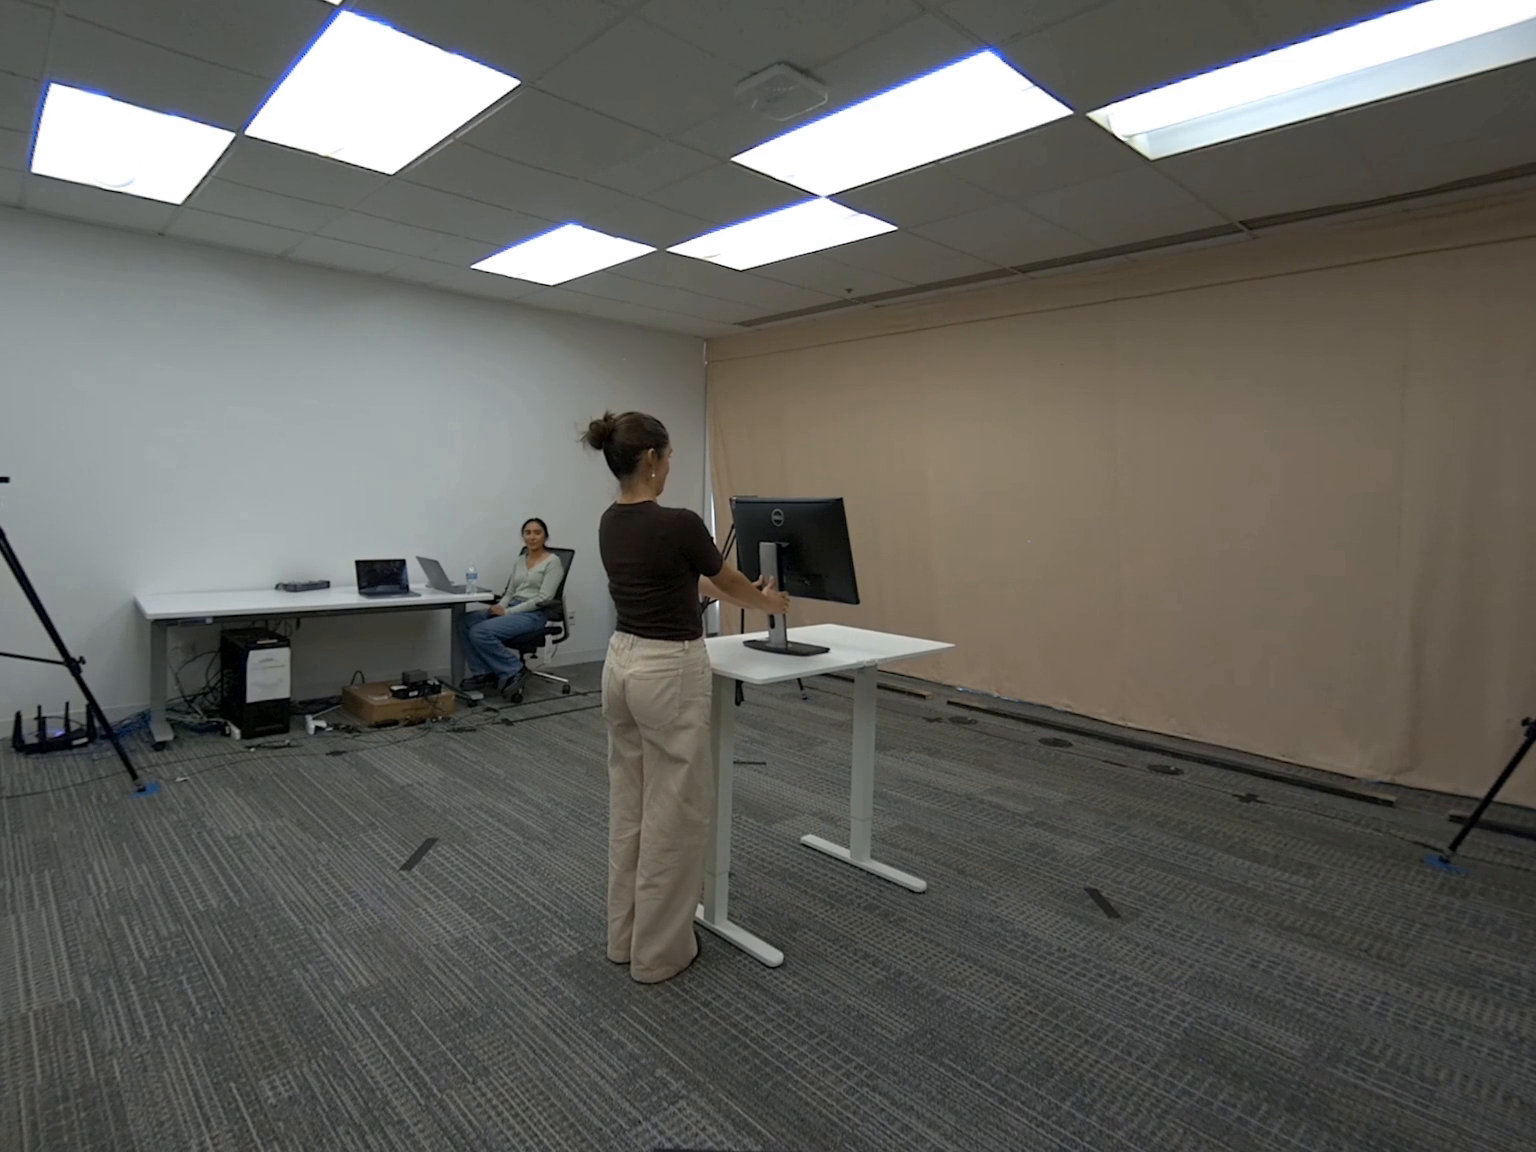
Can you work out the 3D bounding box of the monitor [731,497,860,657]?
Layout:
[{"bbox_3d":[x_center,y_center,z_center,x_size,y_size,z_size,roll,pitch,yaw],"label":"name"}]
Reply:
[{"bbox_3d":[0.049,-0.002,2.830,0.183,0.521,0.553,-3,5,-43],"label":"monitor"}]
